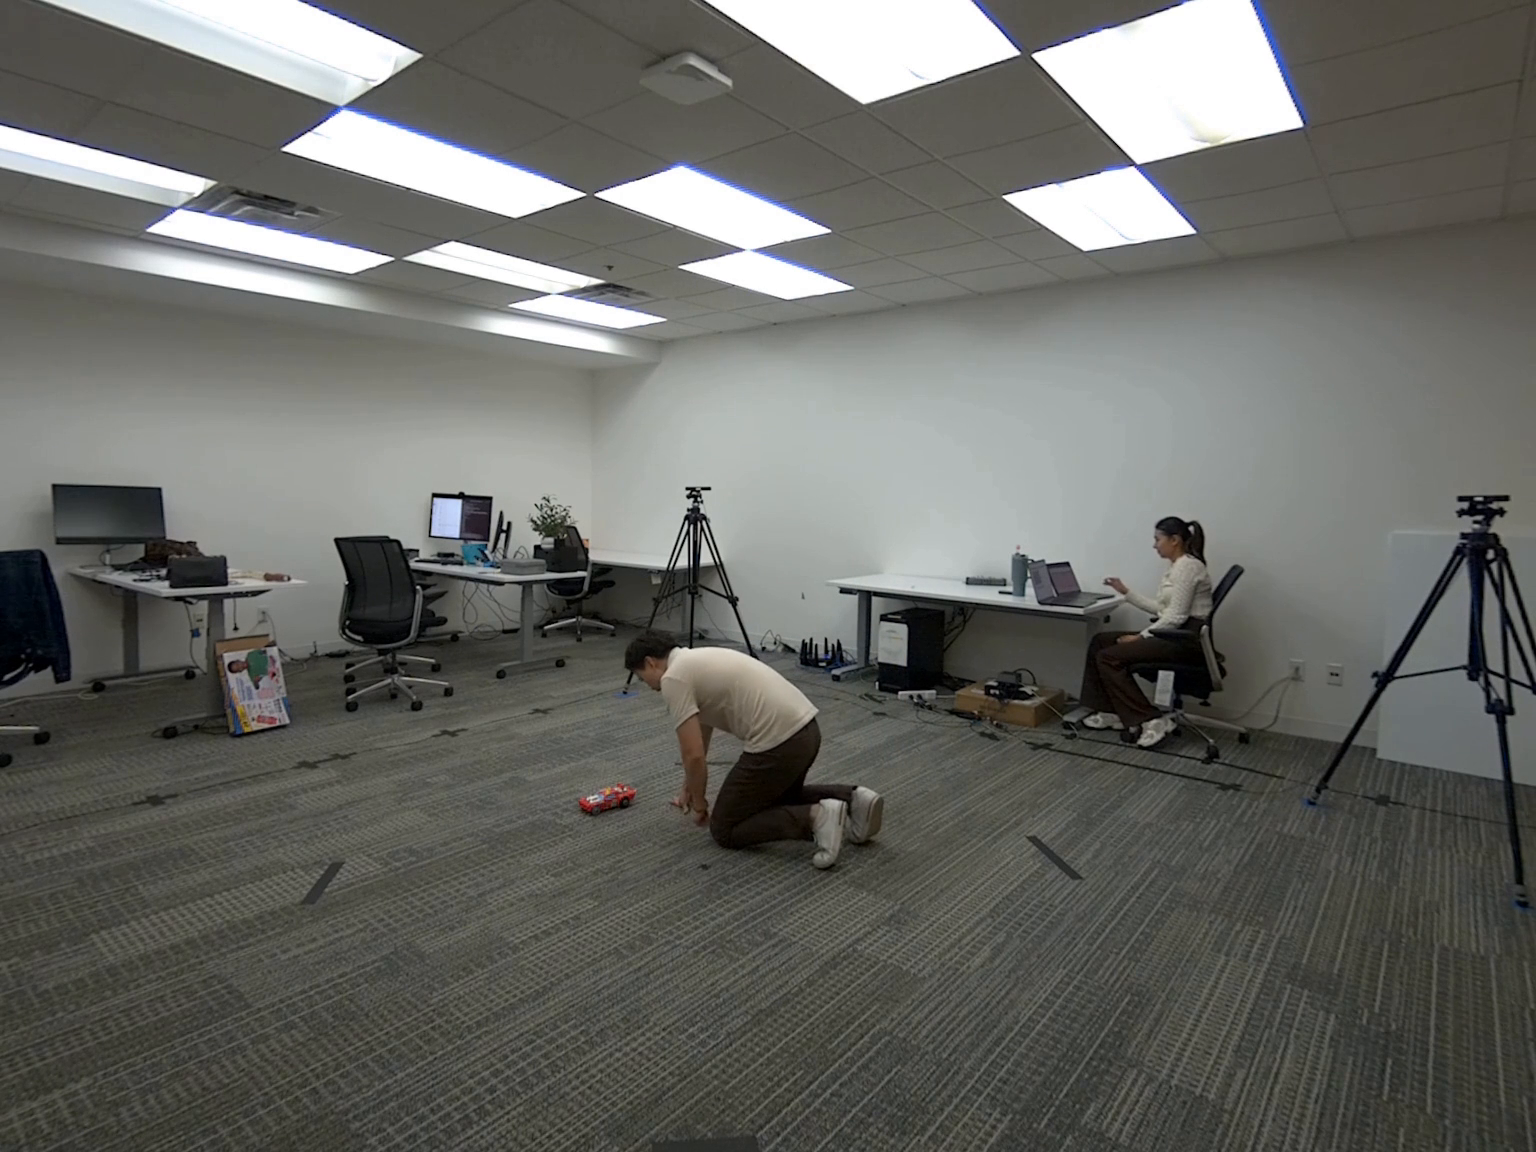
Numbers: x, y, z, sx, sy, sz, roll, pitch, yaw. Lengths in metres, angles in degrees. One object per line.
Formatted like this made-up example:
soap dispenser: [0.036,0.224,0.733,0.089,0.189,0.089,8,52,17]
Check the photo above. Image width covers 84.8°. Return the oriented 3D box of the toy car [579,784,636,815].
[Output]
toy car: [-0.708,0.969,3.706,0.249,0.082,0.134,-18,14,-37]
